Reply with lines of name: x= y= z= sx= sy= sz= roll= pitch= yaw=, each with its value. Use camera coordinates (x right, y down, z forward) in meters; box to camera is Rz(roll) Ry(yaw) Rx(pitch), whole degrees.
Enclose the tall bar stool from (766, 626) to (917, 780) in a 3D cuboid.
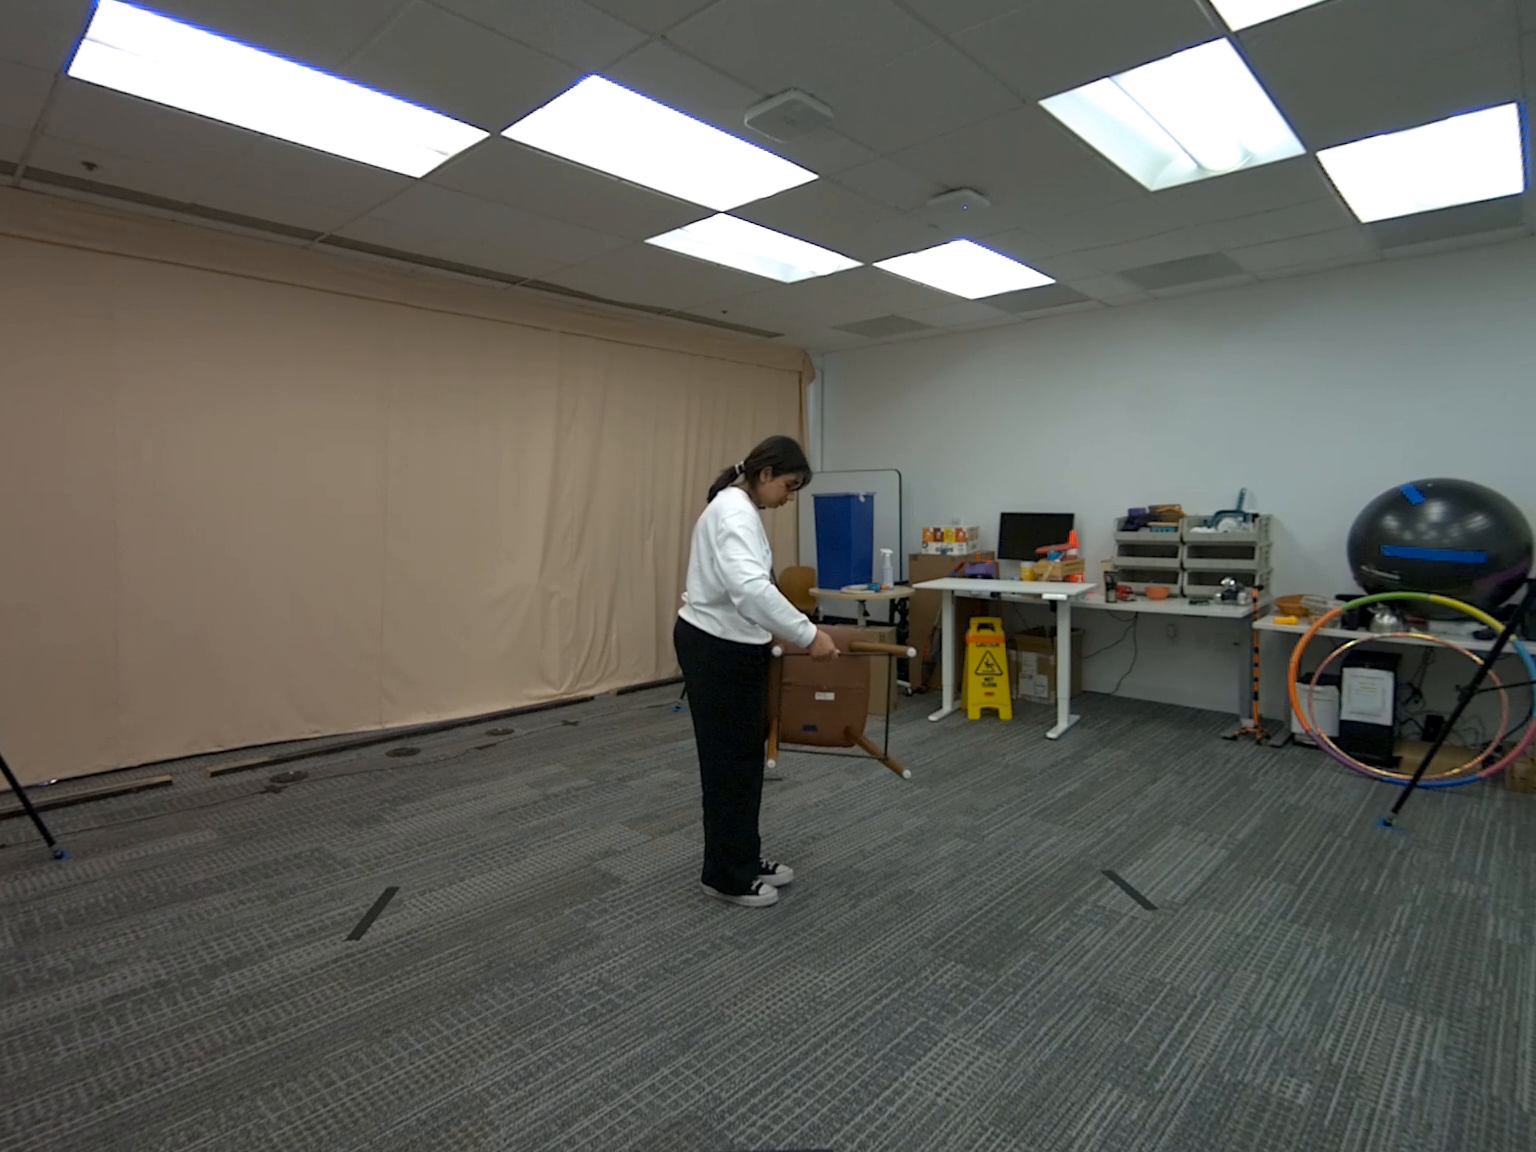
tall bar stool: x=0.180 y=0.415 z=3.035 sx=0.464 sy=0.457 sz=0.896 roll=4 pitch=-1 yaw=-9
